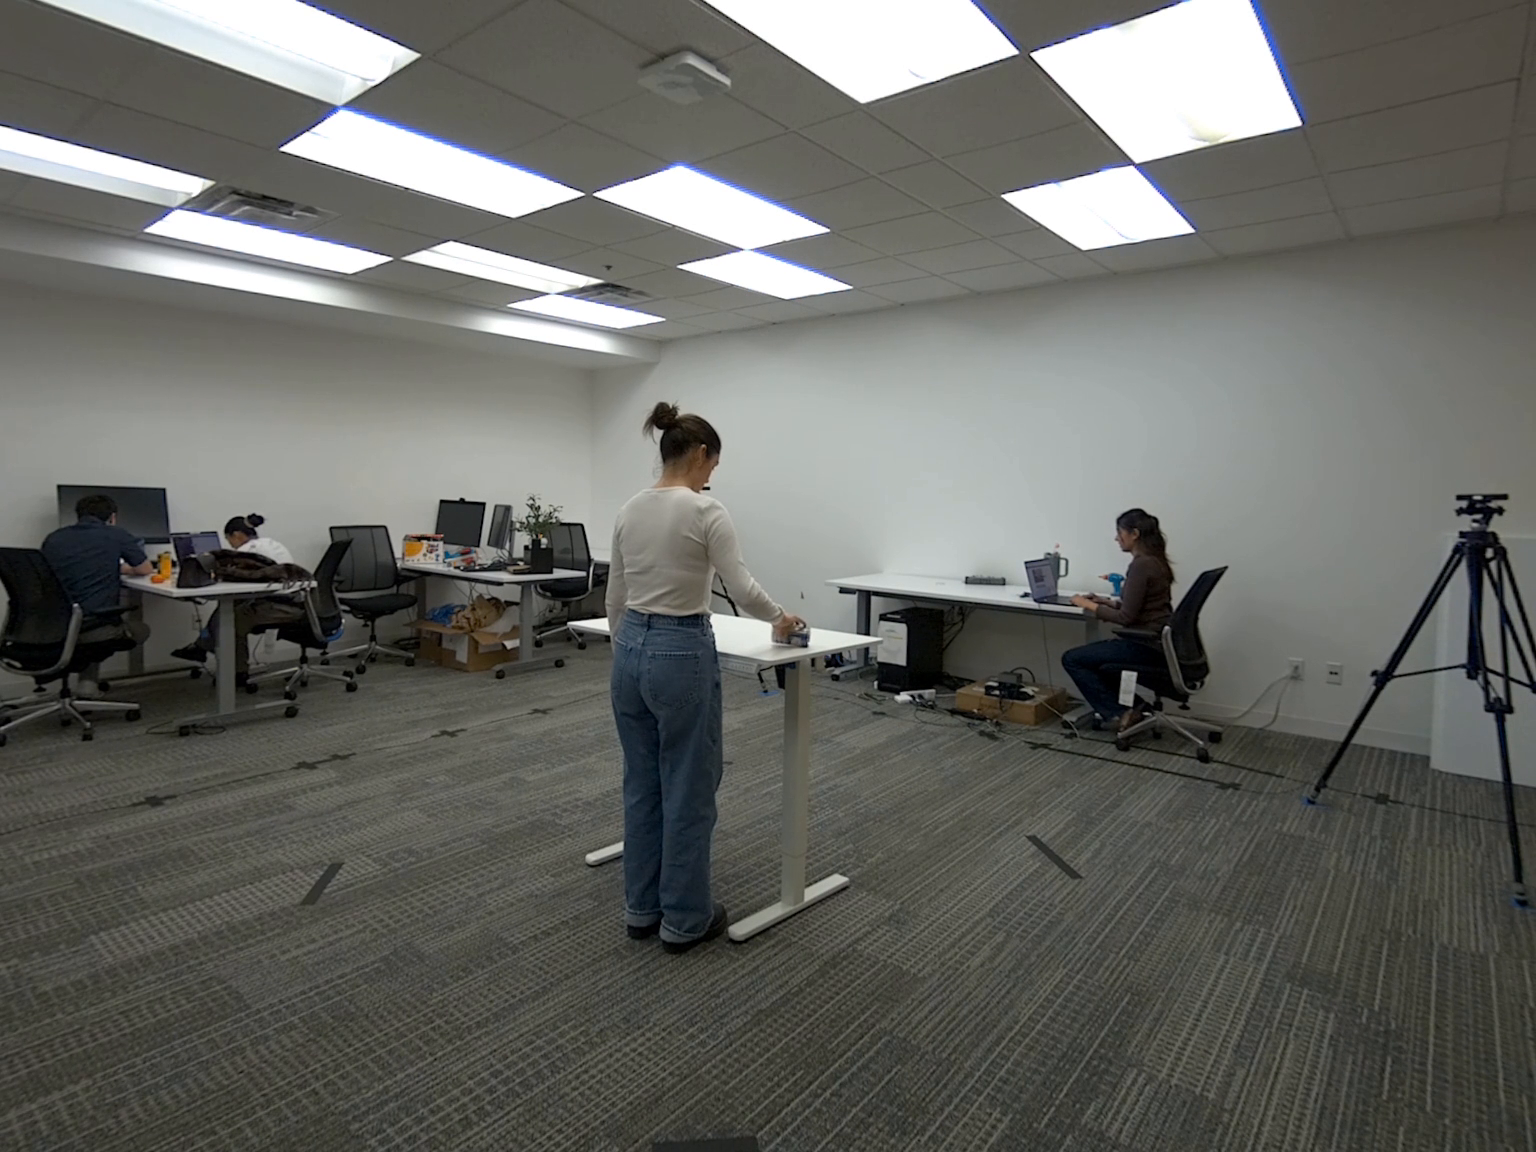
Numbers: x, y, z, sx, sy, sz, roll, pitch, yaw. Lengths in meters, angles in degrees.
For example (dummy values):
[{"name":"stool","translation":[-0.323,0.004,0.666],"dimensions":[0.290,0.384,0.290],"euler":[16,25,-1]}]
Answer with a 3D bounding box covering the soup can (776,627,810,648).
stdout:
[{"name":"soup can","translation":[0.065,0.191,2.717],"dimensions":[0.121,0.067,0.067],"euler":[2,4,-3]}]
